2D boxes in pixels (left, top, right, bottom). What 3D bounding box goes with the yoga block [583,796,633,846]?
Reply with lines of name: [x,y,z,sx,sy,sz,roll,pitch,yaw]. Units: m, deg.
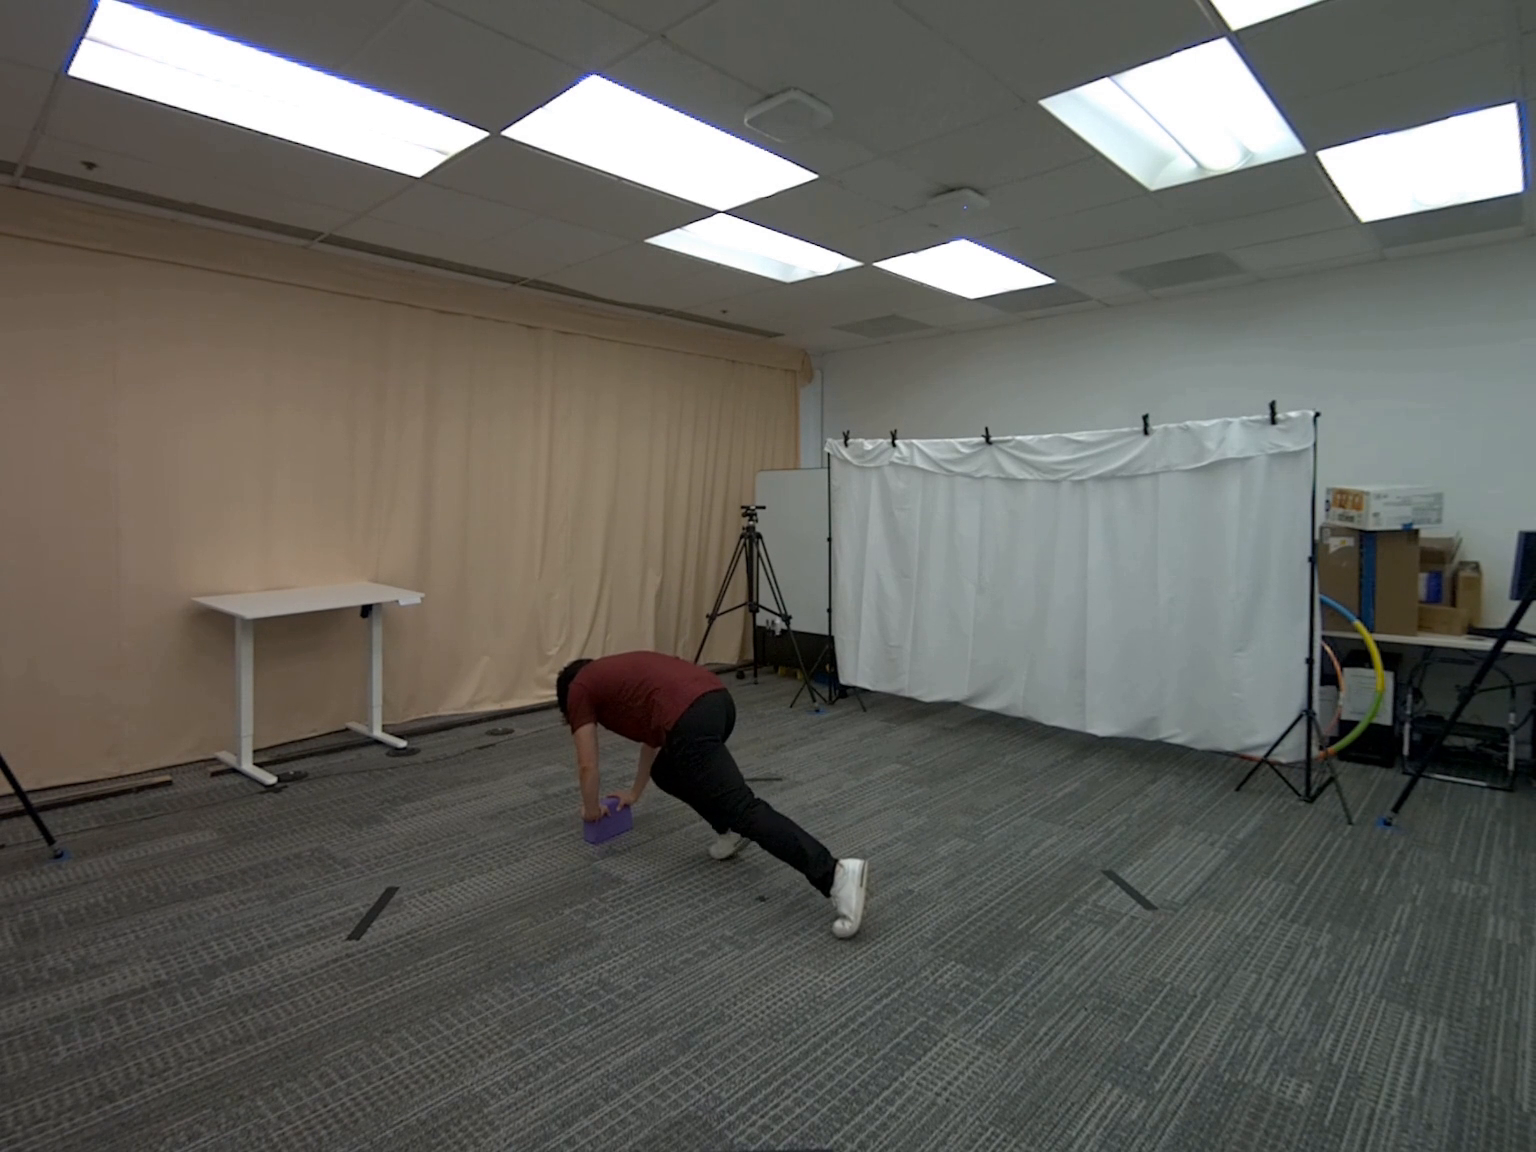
yoga block: [-0.683,1.033,3.582,0.078,0.149,0.223,-6,1,36]
